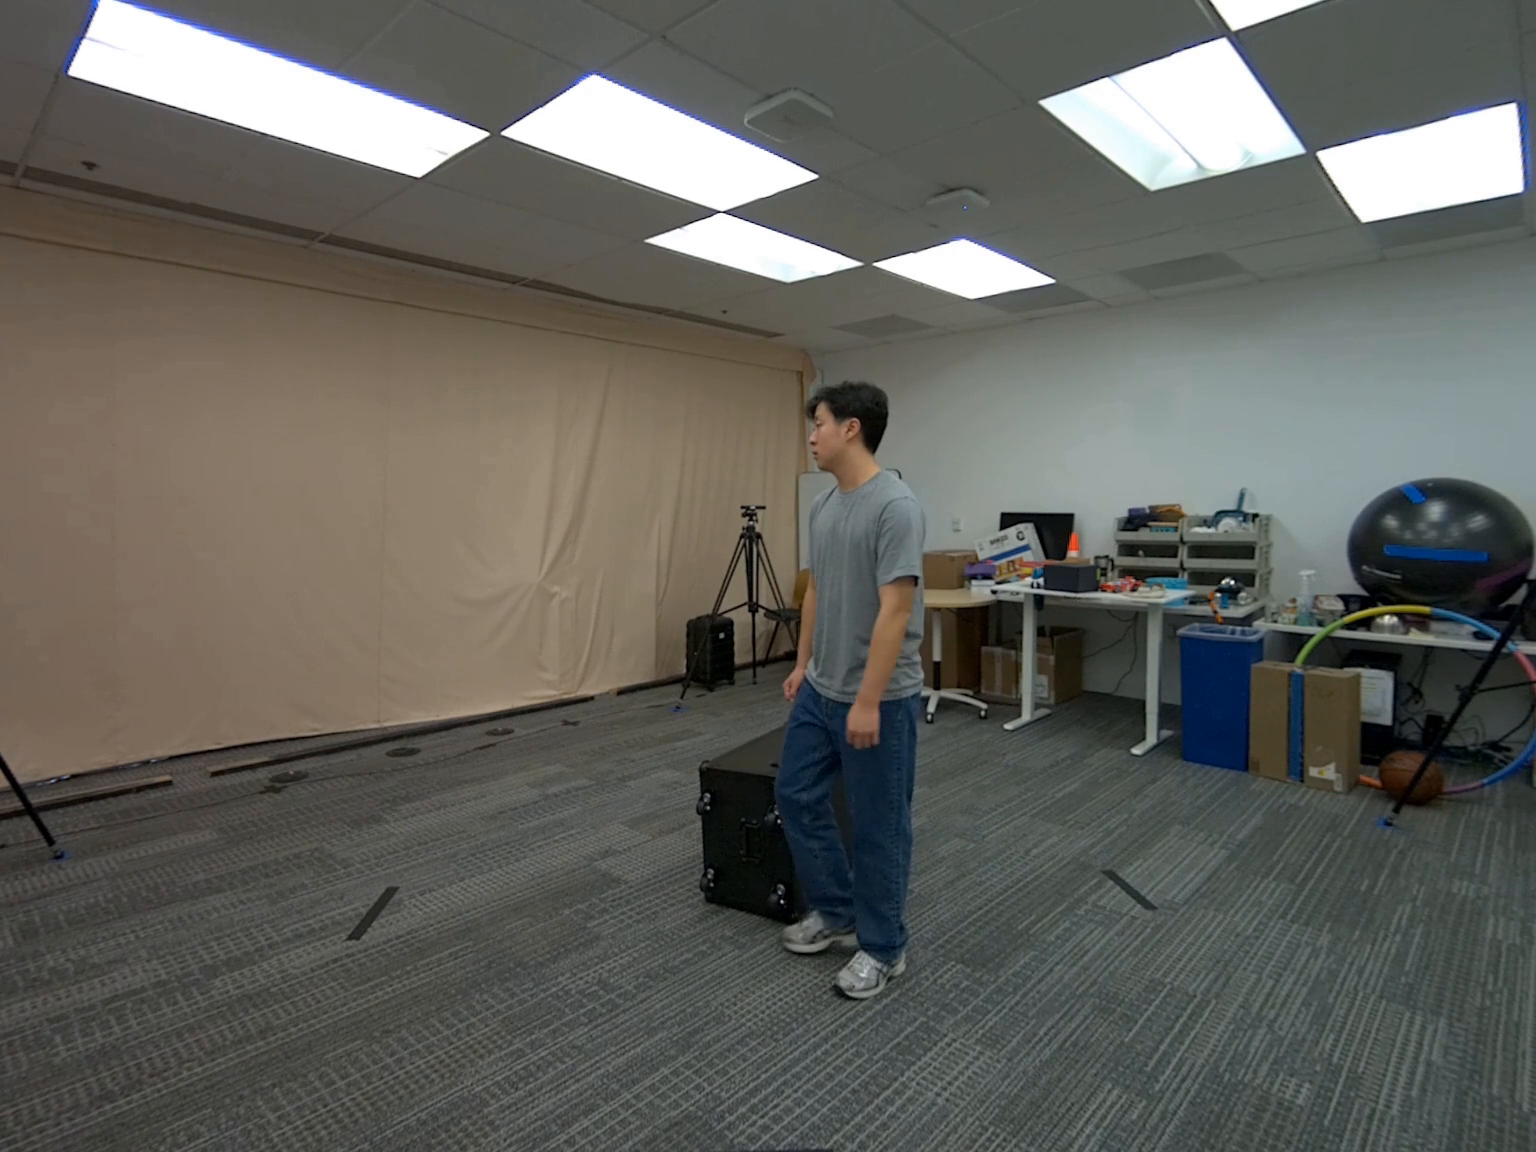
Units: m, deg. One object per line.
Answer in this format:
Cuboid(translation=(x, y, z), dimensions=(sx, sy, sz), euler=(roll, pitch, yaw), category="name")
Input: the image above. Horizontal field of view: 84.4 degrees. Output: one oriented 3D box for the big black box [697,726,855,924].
Cuboid(translation=(0.082, 0.867, 3.168), dimensions=(0.407, 0.520, 0.840), euler=(-1, 4, 29), category="big black box")
